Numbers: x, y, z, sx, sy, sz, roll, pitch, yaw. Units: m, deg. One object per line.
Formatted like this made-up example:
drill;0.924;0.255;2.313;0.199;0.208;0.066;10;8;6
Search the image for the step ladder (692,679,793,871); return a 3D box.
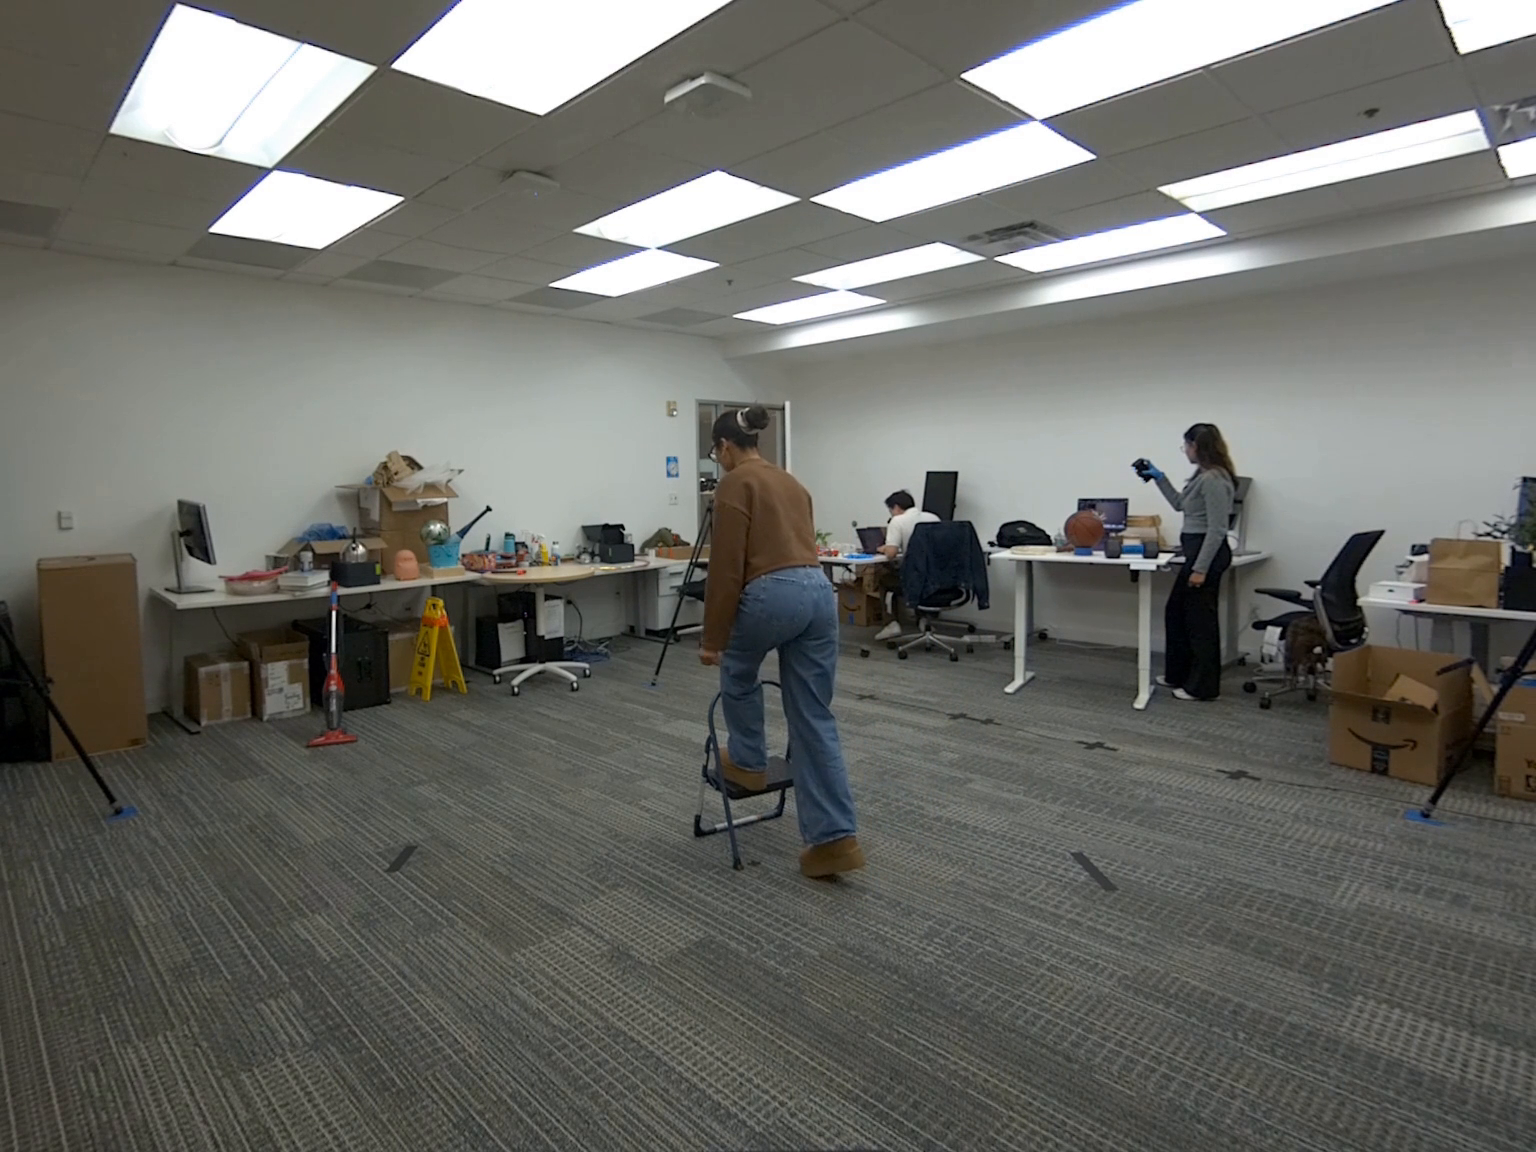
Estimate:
step ladder;-0.030;0.723;3.292;0.420;0.604;0.359;-4;5;-33
